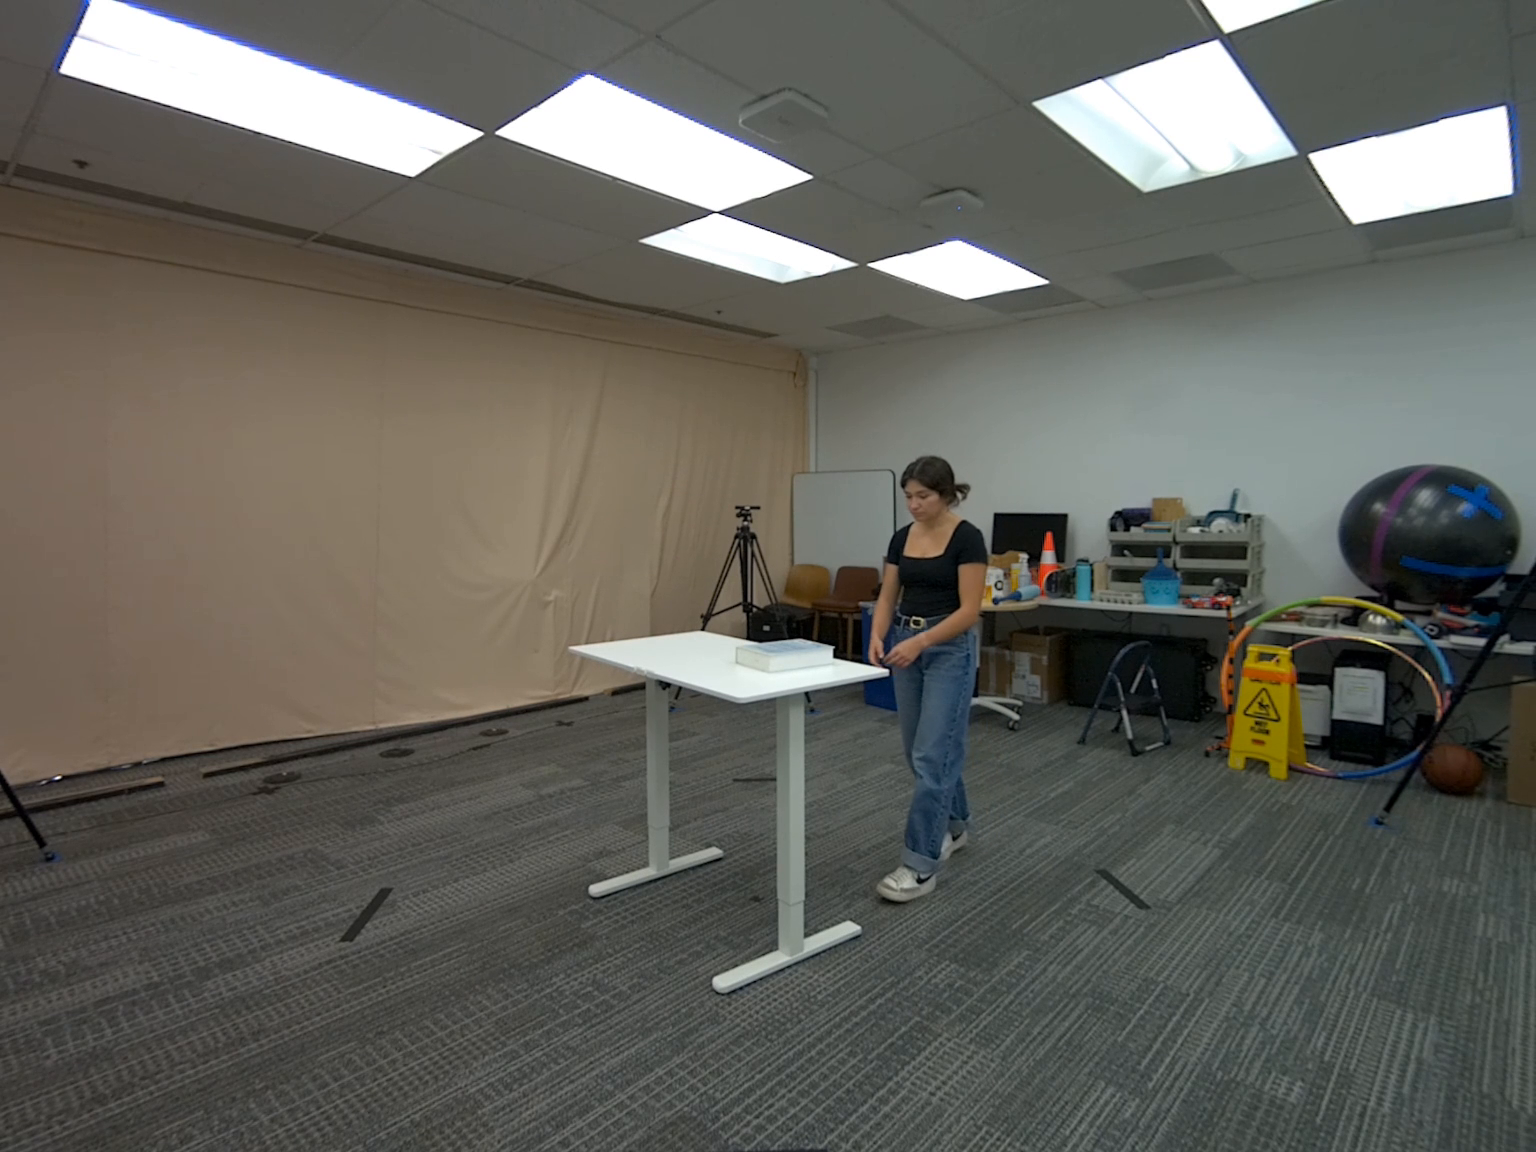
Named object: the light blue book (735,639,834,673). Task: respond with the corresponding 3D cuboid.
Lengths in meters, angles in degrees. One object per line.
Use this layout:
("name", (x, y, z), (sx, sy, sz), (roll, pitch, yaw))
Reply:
("light blue book", (0.061, 0.256, 2.720), (0.253, 0.059, 0.197), (-3, 7, -35))
